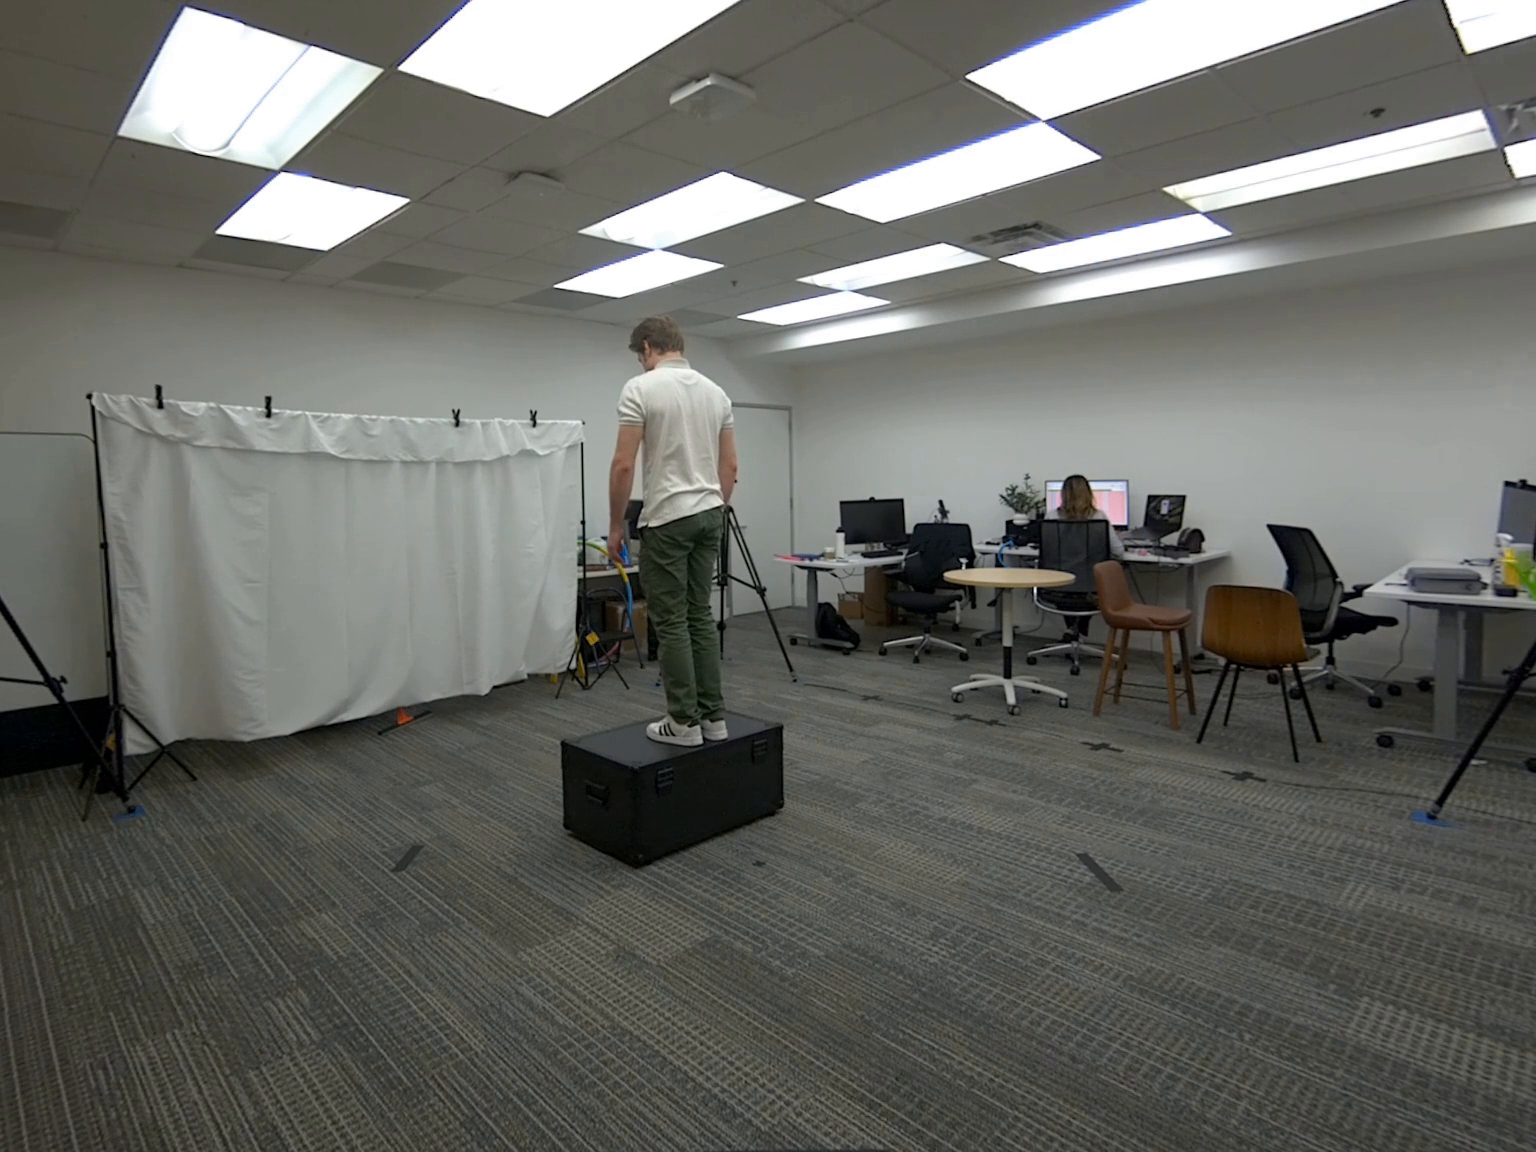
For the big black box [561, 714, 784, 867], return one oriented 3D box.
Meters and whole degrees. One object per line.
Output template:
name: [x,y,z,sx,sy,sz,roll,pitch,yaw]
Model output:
big black box: [-0.345,0.817,3.507,0.845,0.384,0.539,-6,6,-44]
